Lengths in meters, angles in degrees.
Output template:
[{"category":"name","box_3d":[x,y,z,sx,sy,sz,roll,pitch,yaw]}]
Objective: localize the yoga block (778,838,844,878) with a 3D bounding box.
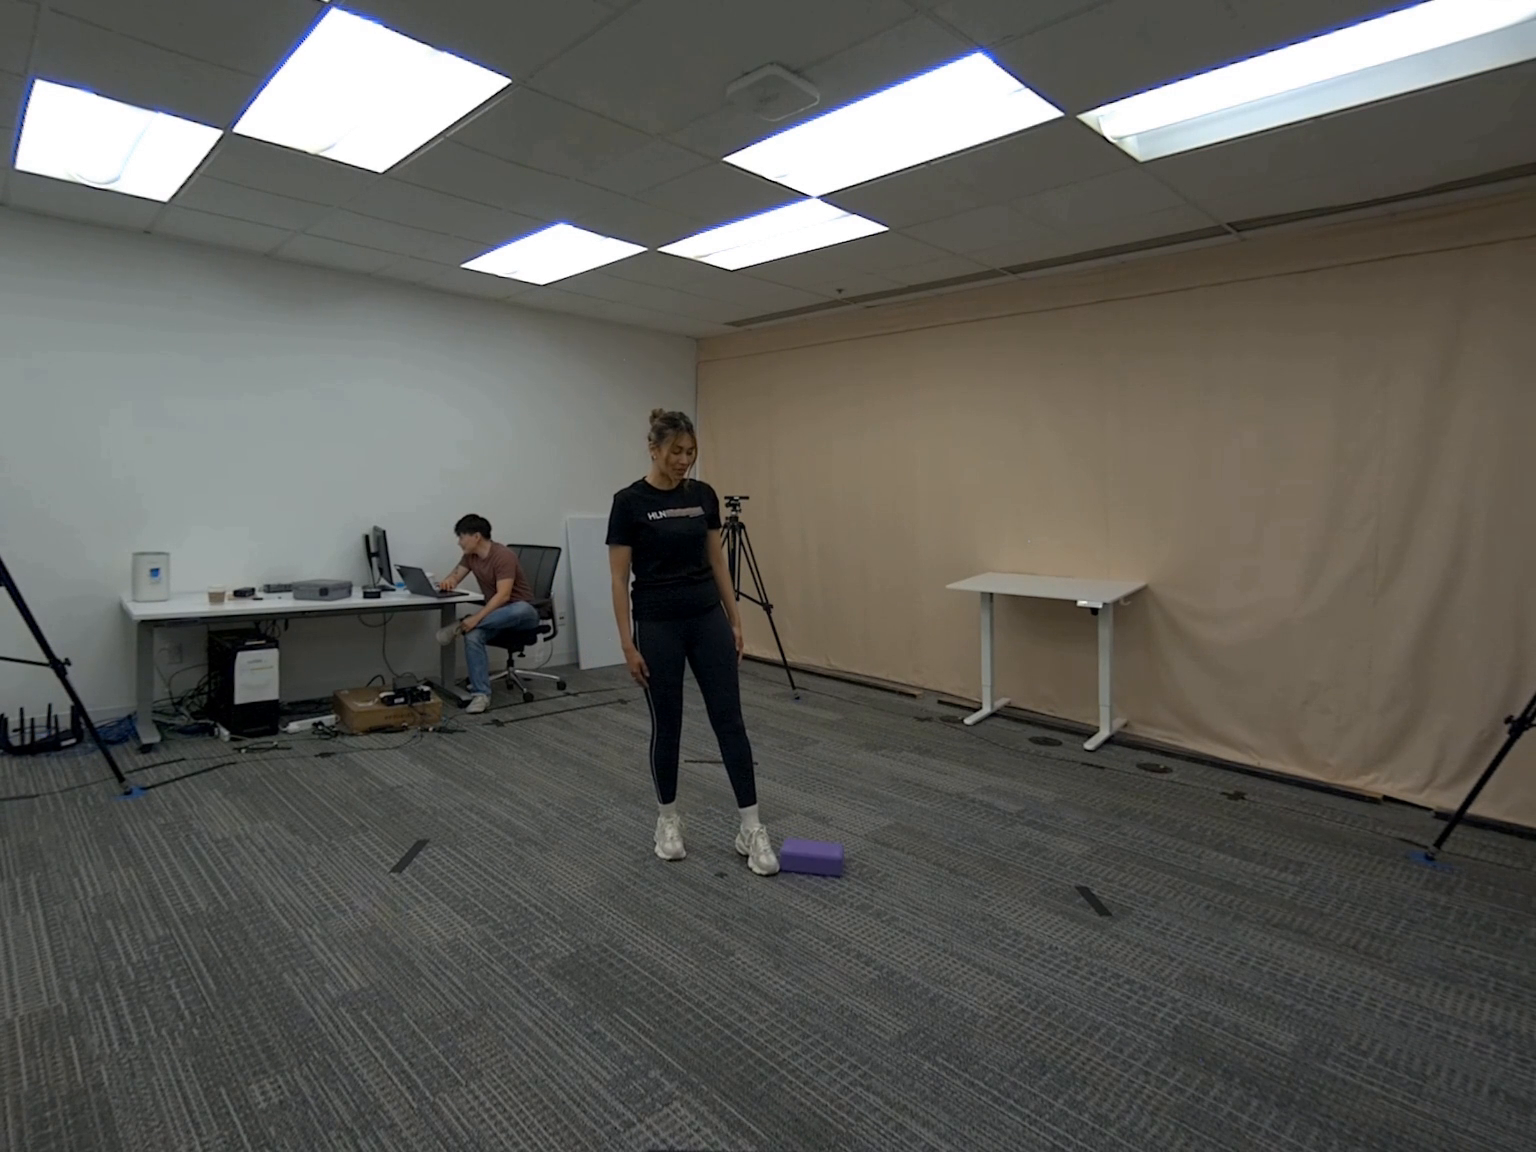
[{"category":"yoga block","box_3d":[0.159,1.066,3.187,0.231,0.076,0.148,1,3,11]}]
